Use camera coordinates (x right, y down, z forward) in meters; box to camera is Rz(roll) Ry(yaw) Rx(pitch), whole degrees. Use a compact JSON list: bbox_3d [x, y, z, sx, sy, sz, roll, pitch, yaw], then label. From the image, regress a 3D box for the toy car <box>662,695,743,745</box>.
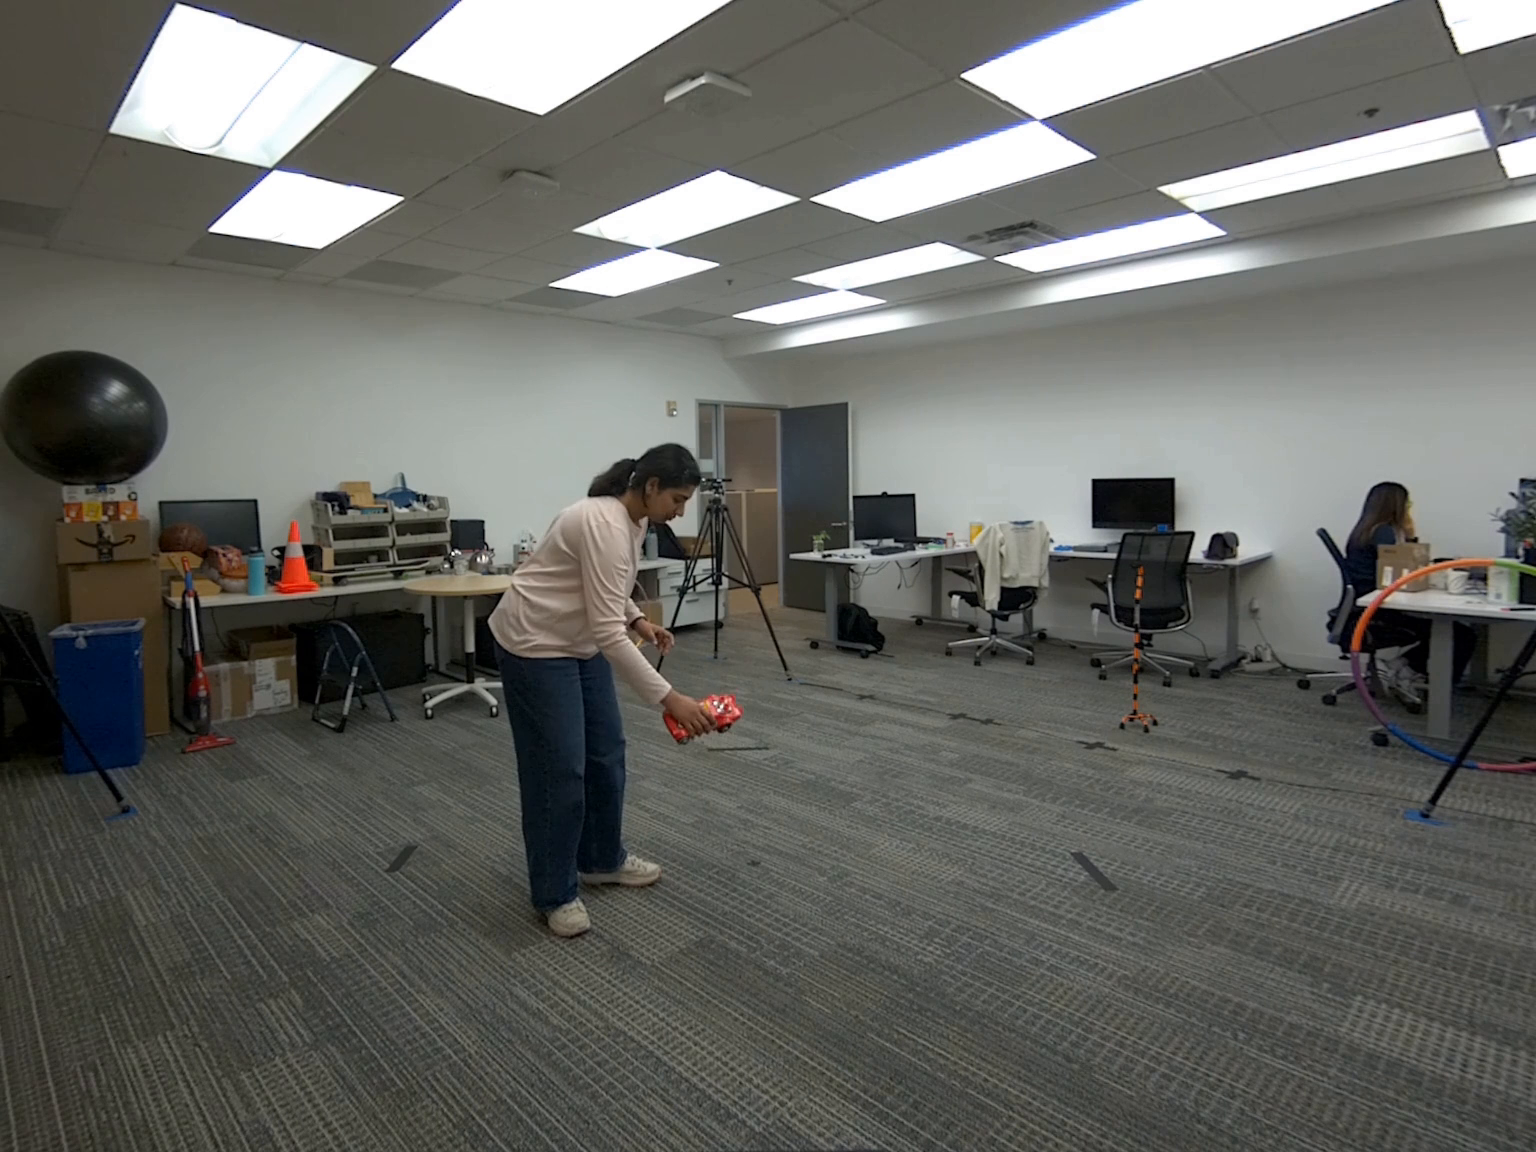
[{"bbox_3d":[-0.197,0.430,2.637,0.251,0.081,0.135,-17,50,-23],"label":"toy car"}]
